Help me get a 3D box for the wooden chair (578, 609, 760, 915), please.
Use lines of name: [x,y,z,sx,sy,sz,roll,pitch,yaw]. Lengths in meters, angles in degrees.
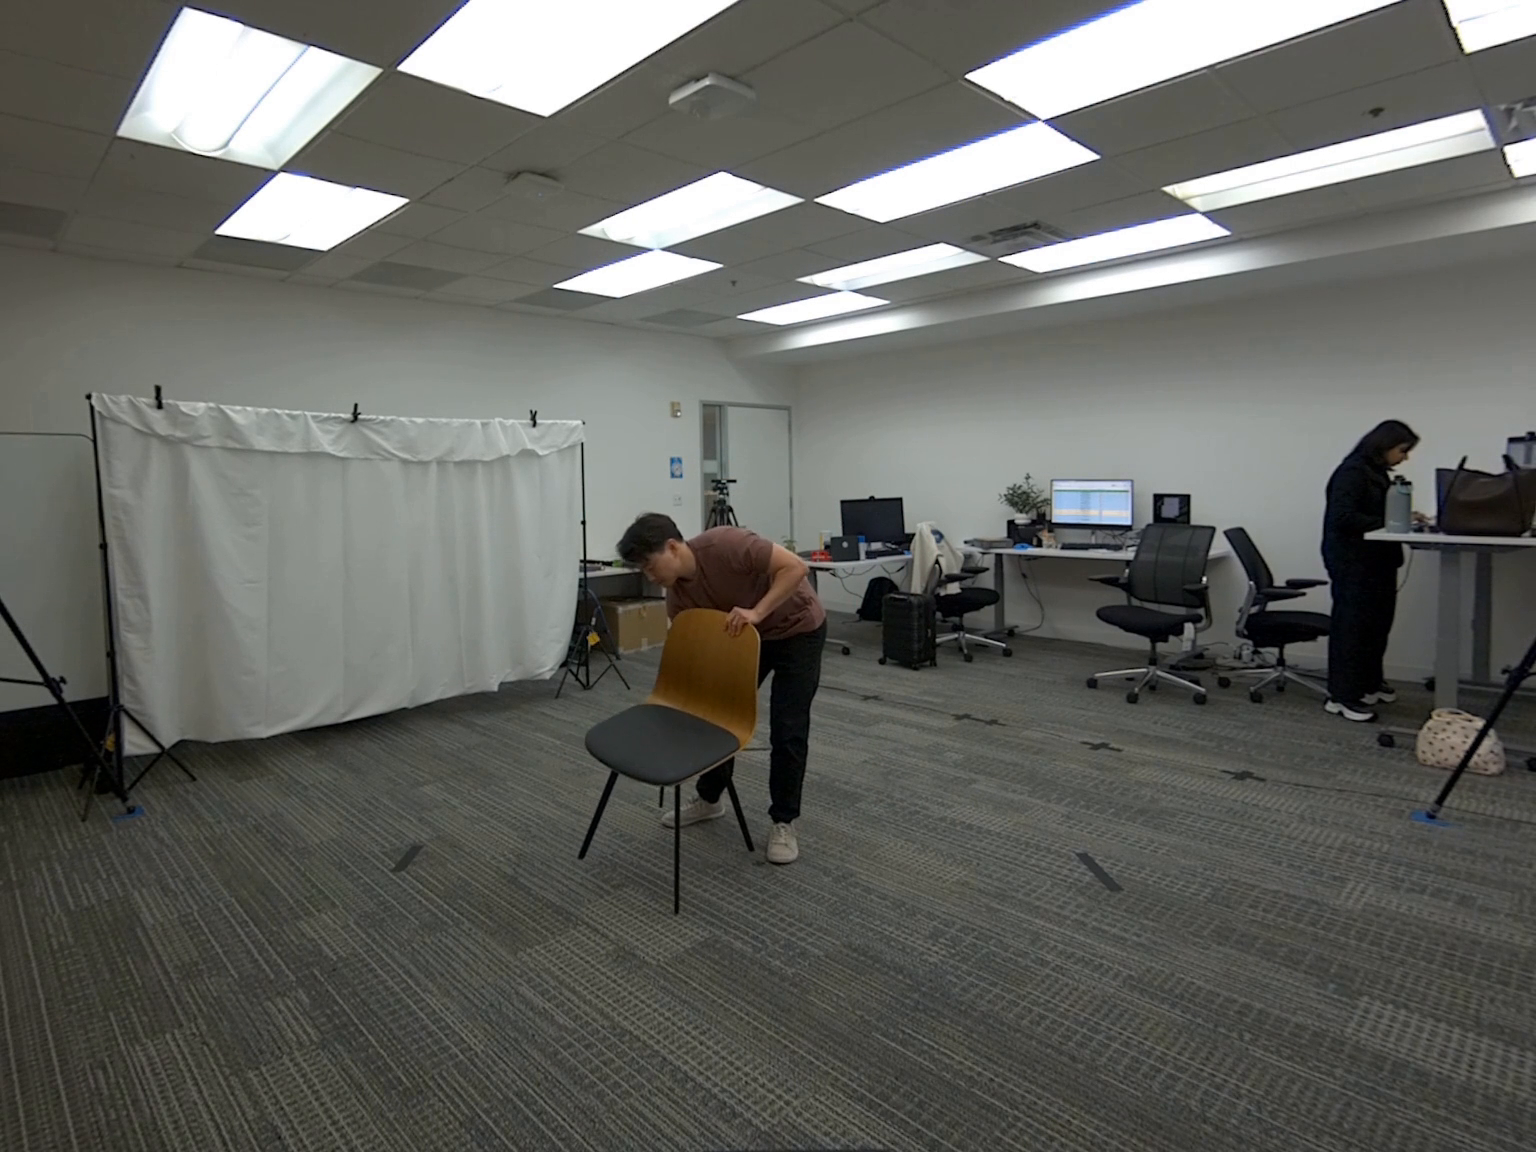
wooden chair: [-0.335,0.596,2.937,0.493,0.870,0.511,13,13,32]
